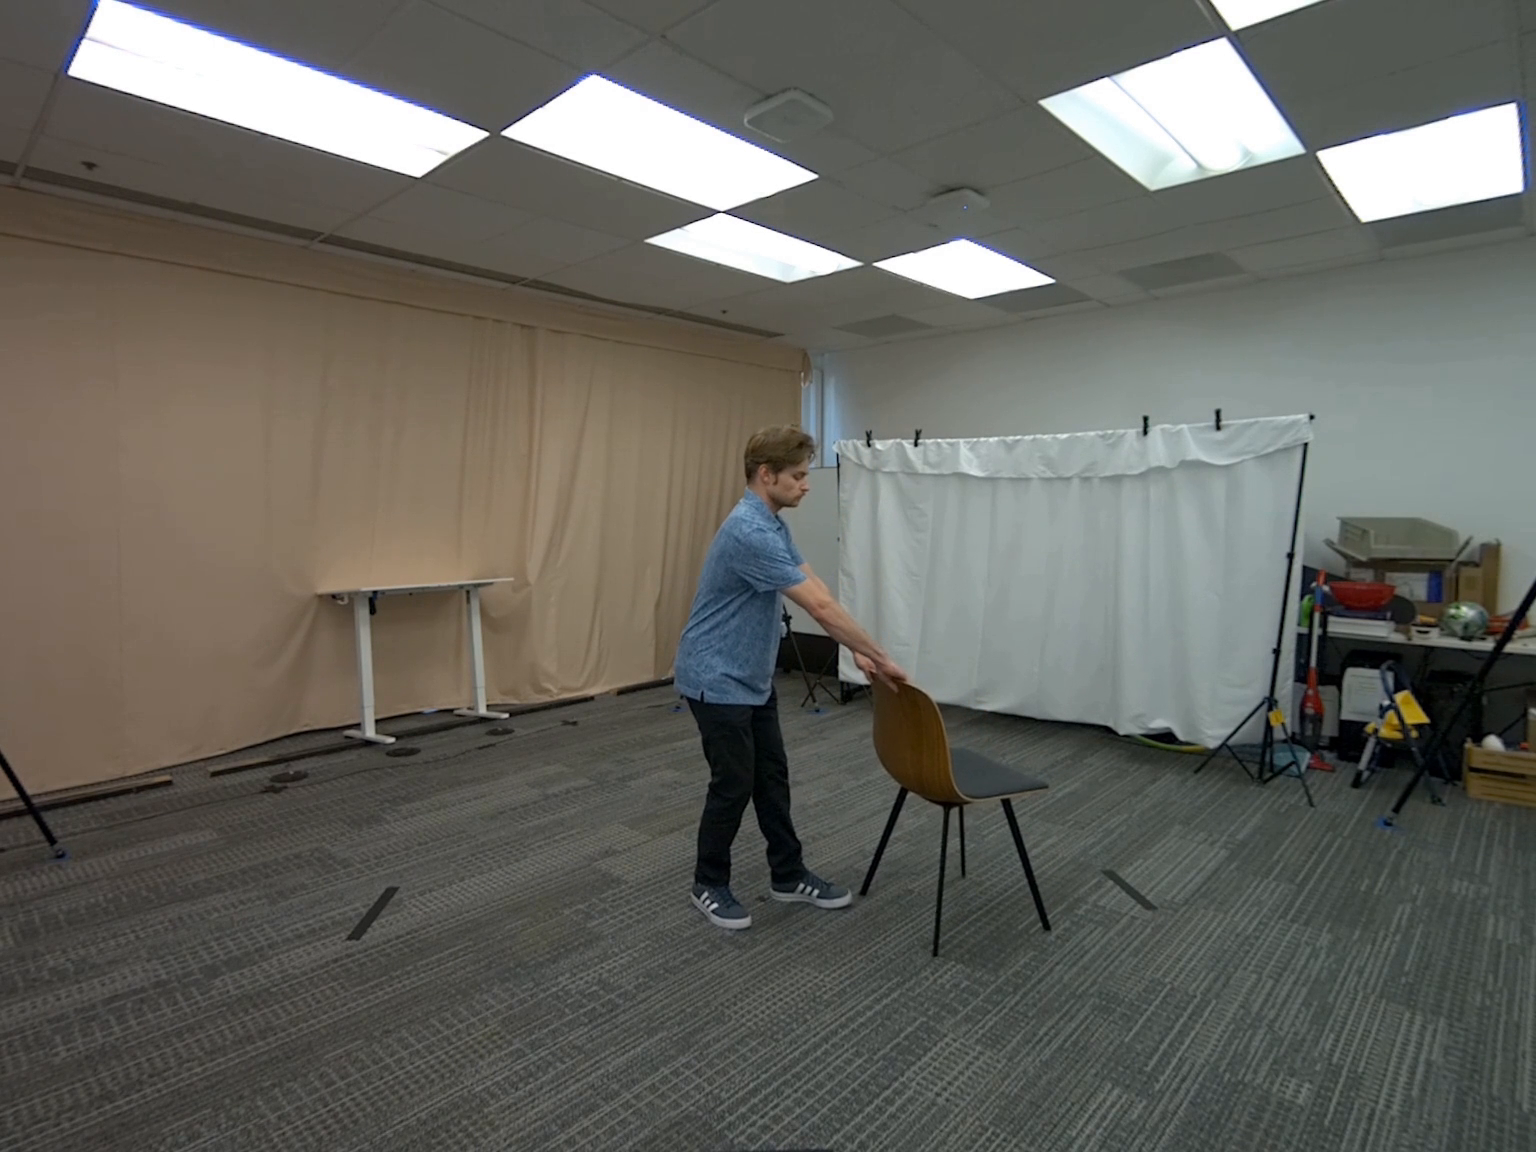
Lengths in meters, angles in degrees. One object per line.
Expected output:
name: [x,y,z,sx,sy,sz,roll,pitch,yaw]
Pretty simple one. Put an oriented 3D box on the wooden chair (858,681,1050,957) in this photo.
wooden chair: [0.637,0.723,2.847,0.512,0.874,0.490,-6,5,-23]
